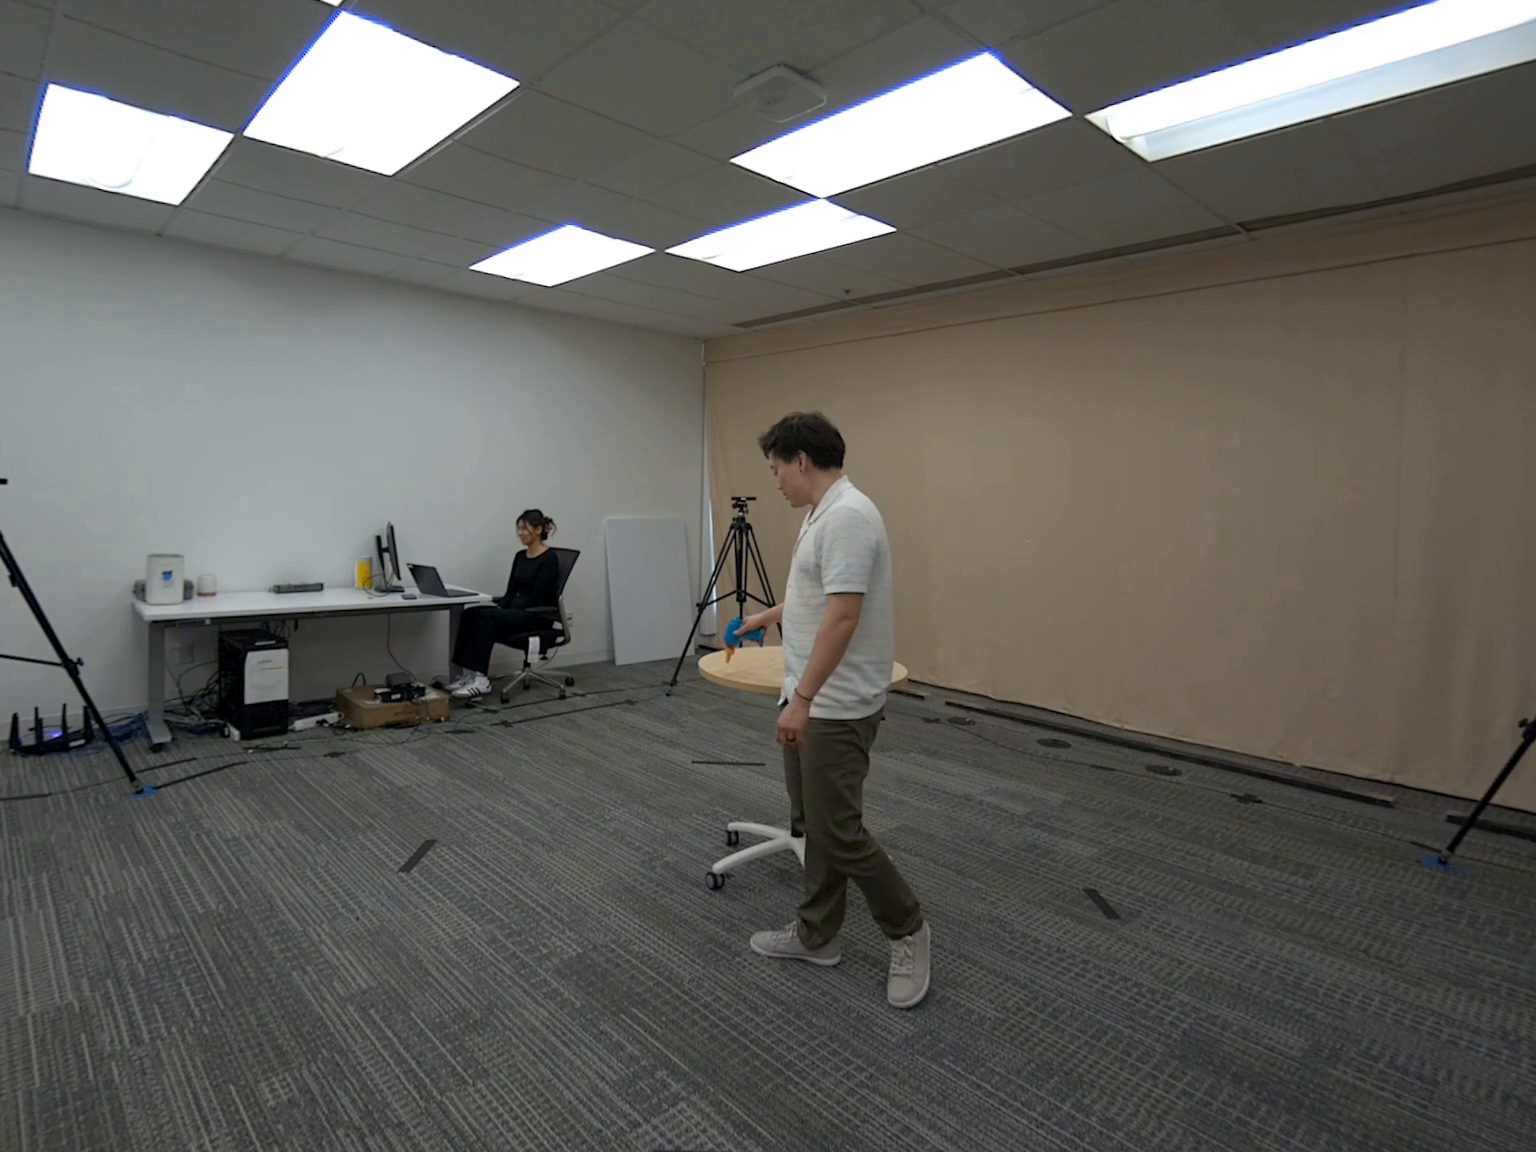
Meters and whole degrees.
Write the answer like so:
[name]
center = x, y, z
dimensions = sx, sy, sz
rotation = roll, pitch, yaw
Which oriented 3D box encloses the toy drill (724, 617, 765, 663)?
[toy drill]
center = -0.087, 0.240, 2.936
dimensions = 0.148, 0.170, 0.060
rotation = 15, 1, 13
